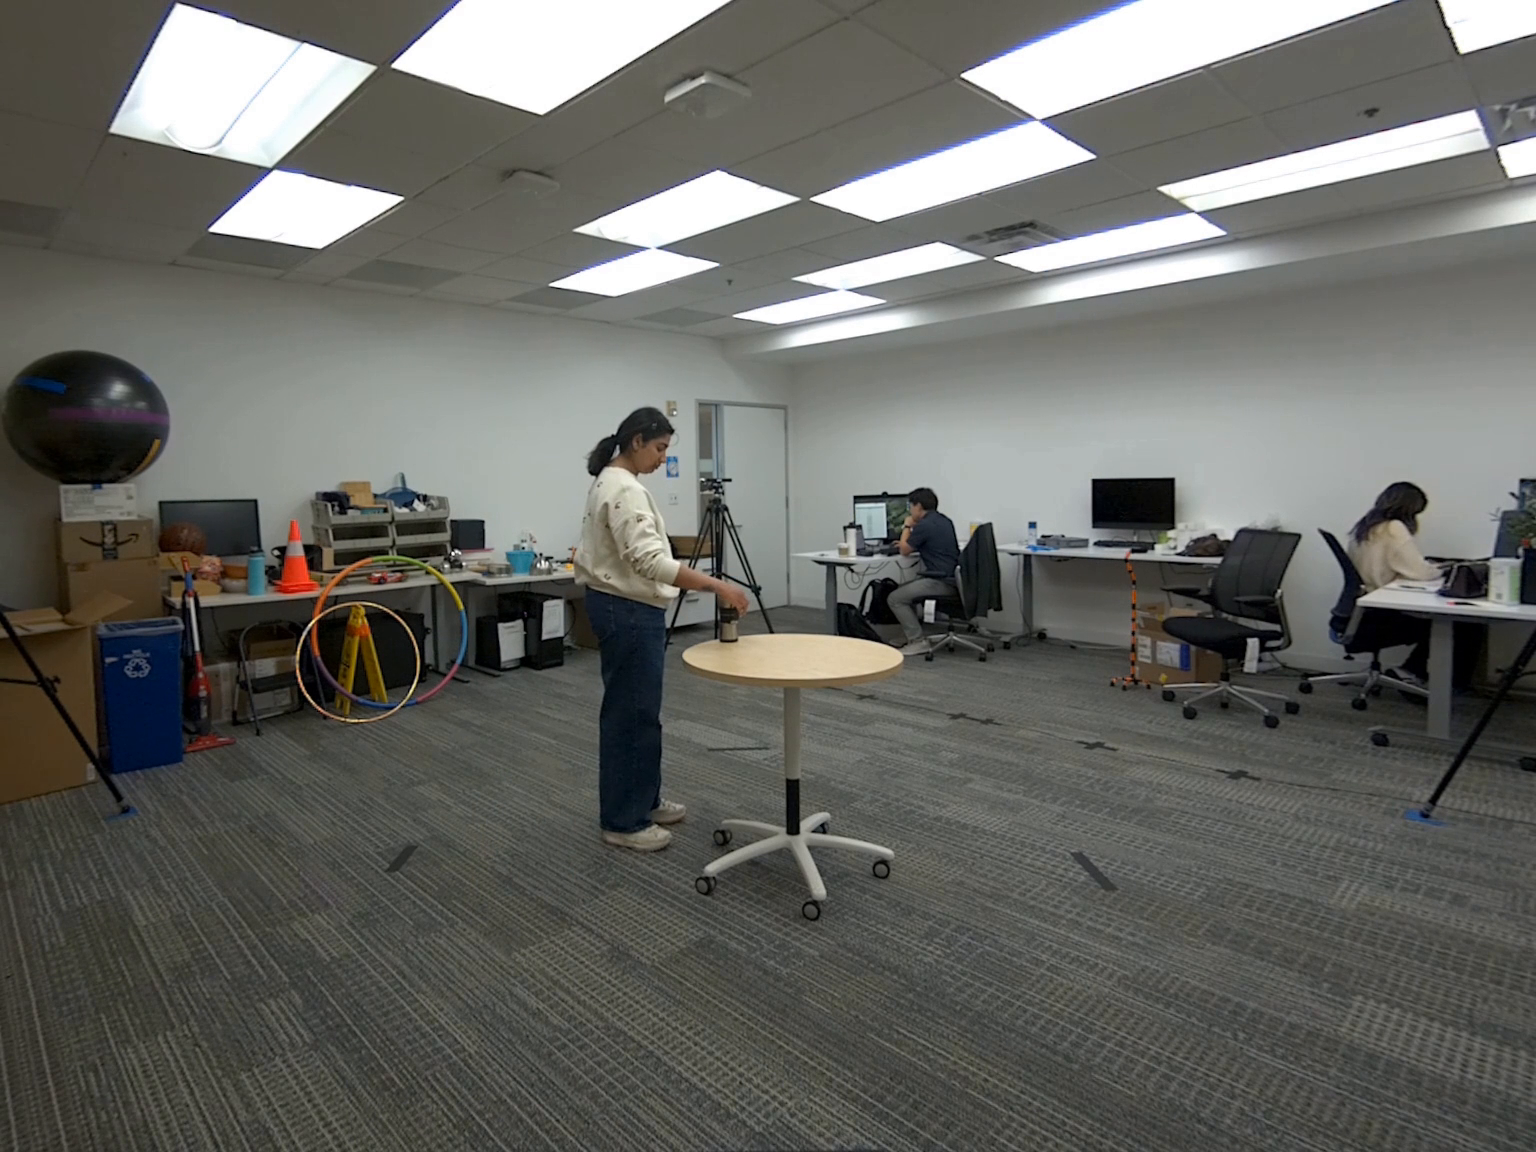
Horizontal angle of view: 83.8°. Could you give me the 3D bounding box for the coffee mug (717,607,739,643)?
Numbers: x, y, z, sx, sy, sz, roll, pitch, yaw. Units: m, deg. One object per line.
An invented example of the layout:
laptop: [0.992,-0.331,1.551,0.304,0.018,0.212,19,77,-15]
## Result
coffee mug: [-0.164,0.149,3.203,0.090,0.202,0.118,5,3,39]
